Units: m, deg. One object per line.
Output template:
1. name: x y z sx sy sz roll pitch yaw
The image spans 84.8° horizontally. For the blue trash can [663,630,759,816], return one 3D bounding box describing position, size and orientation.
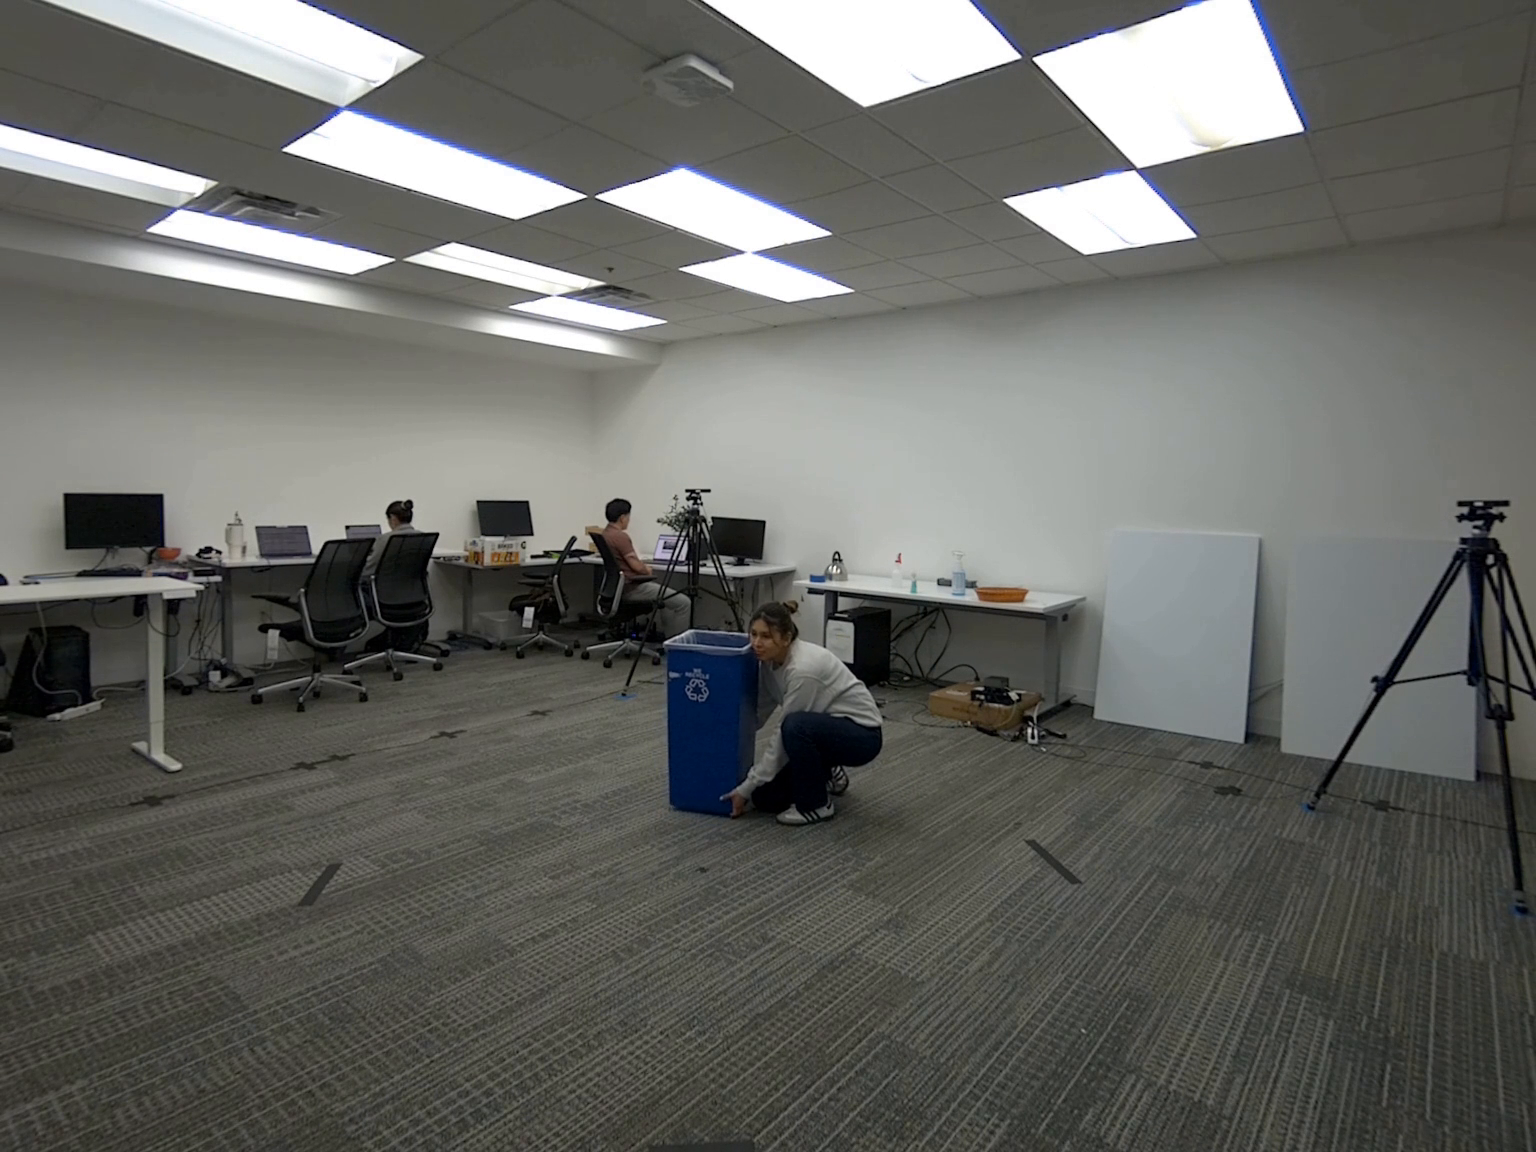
1. blue trash can: -0.249 0.621 3.767 0.381 0.711 0.373 2 4 15
